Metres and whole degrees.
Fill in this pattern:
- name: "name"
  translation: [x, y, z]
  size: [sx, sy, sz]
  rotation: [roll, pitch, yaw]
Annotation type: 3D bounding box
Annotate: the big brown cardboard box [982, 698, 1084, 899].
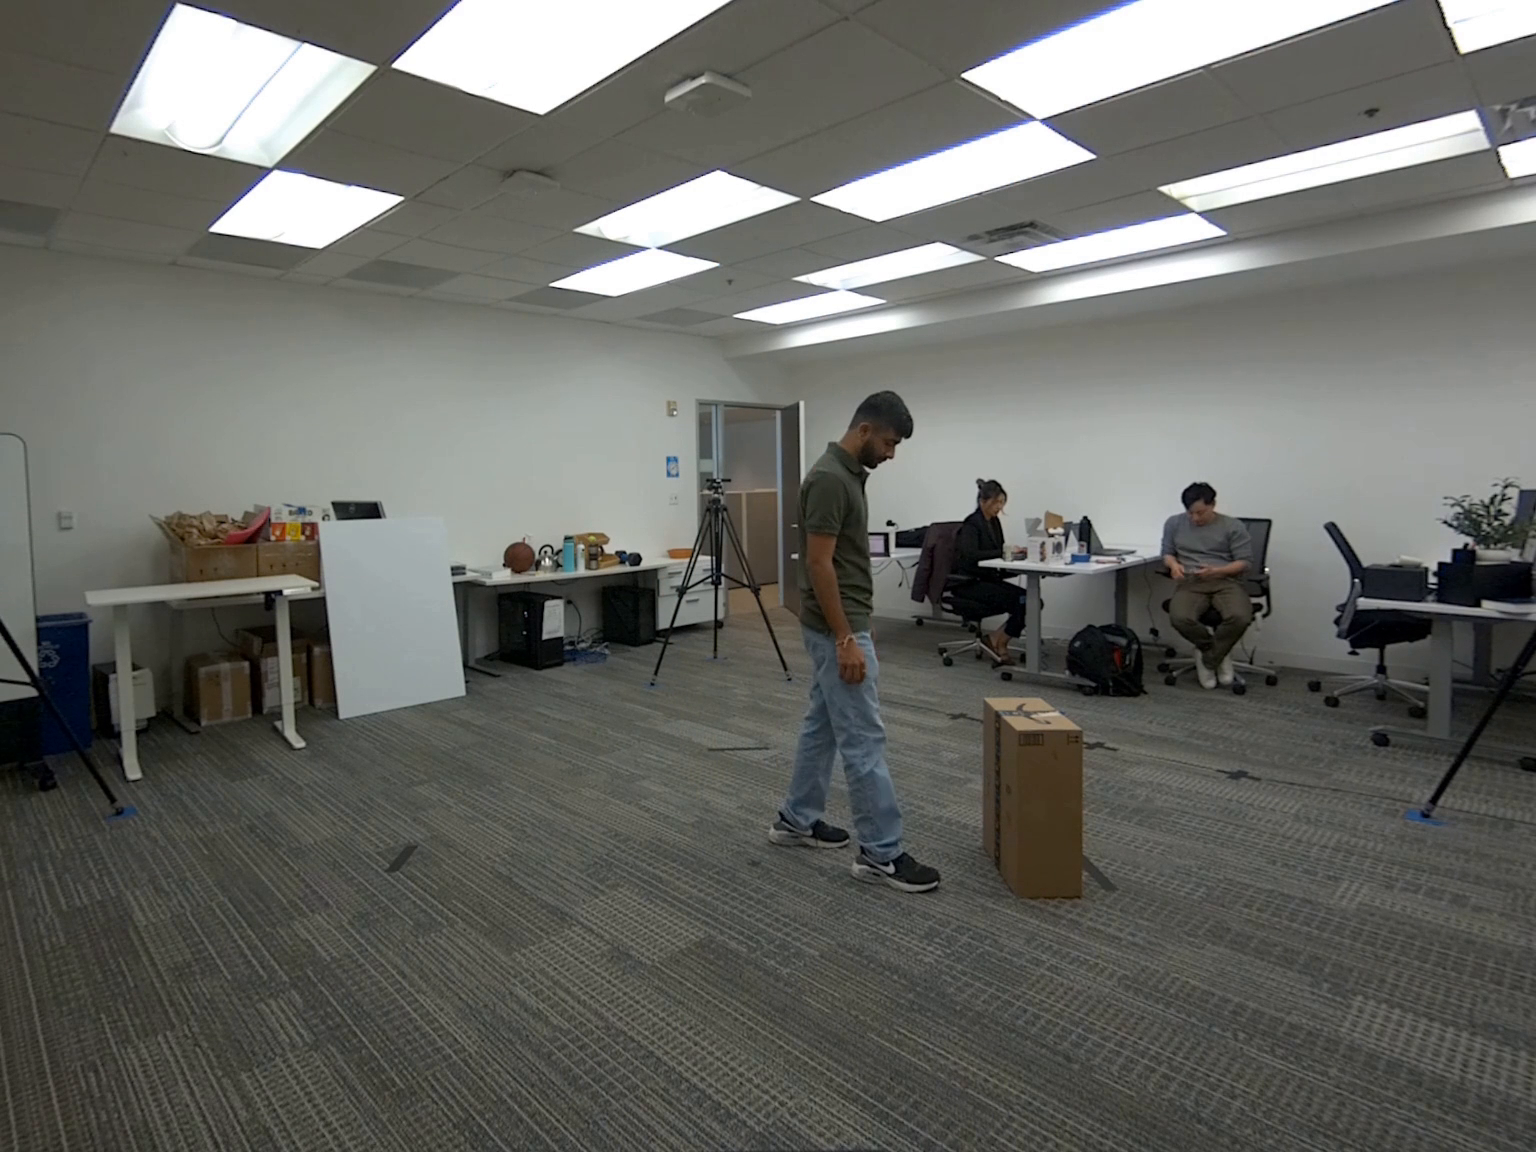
- name: "big brown cardboard box"
  translation: [0.913, 0.757, 2.992]
  size: [0.233, 0.586, 0.419]
  rotation: [-2, 5, 0]
